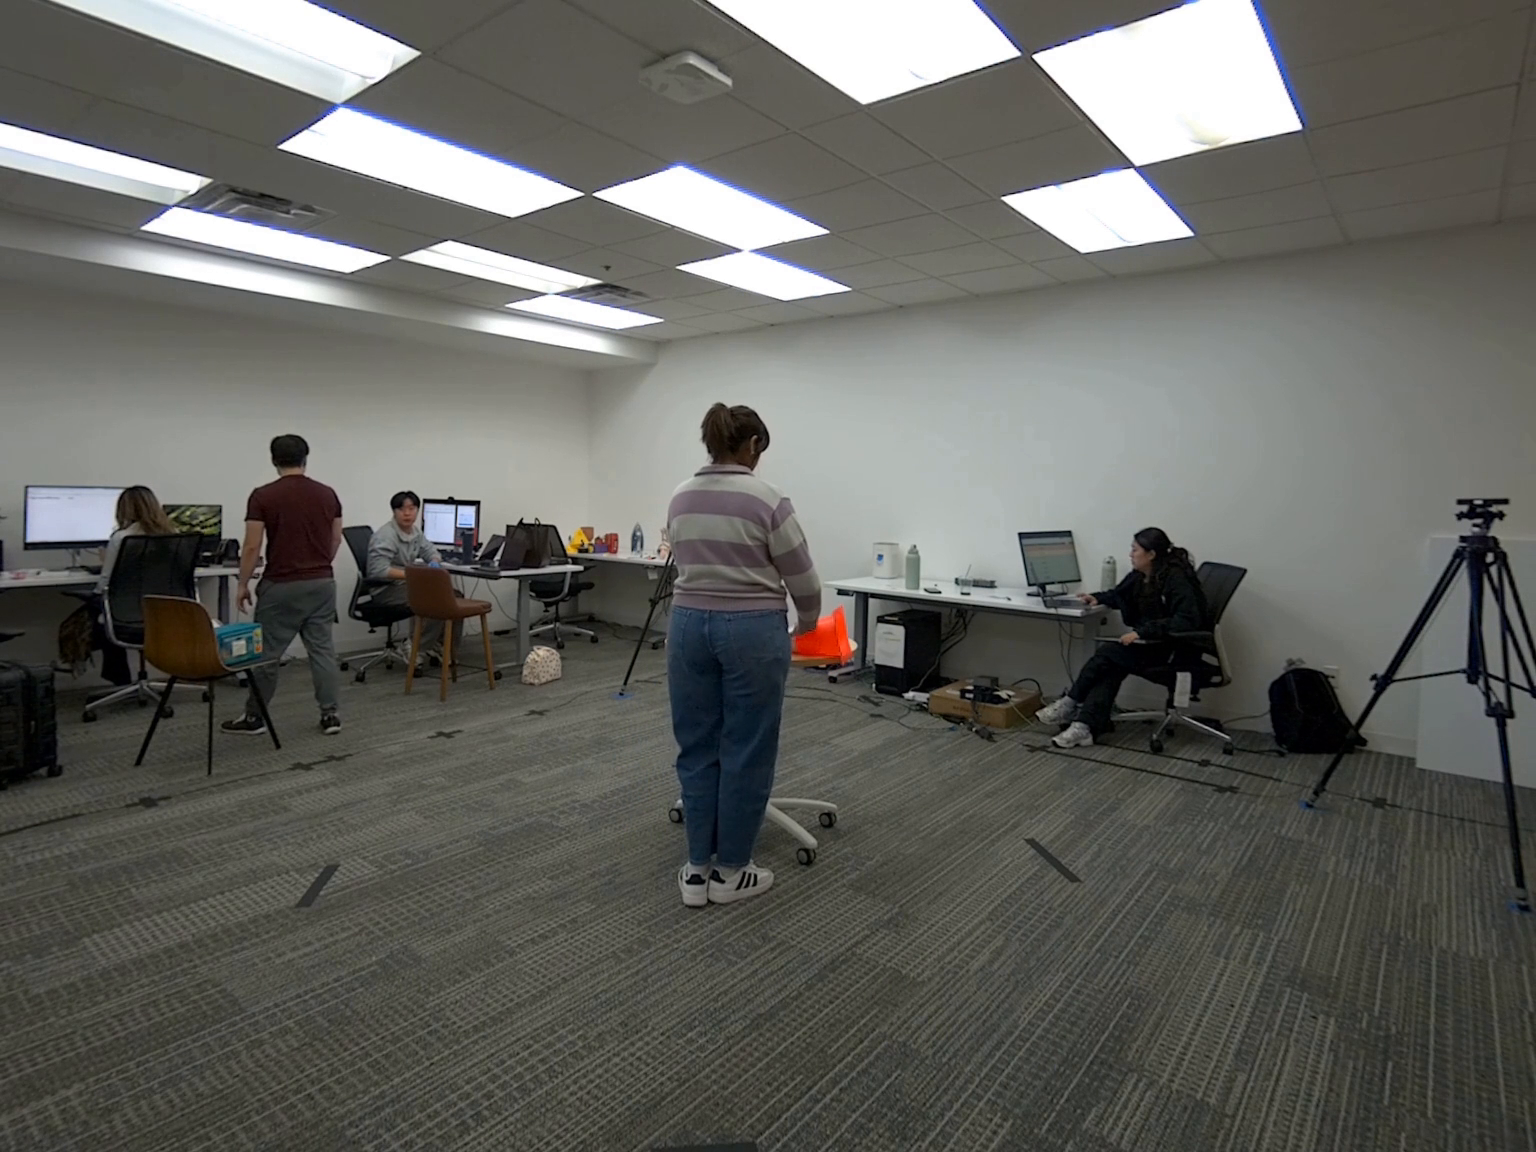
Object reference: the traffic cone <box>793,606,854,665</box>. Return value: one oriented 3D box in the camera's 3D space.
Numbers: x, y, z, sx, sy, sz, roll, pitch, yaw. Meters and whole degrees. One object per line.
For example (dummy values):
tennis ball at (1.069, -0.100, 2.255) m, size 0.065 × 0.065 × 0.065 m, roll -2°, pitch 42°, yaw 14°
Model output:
traffic cone at (0.082, 0.245, 3.187) m, size 0.389 × 0.205 × 0.200 m, roll -10°, pitch 2°, yaw 18°
